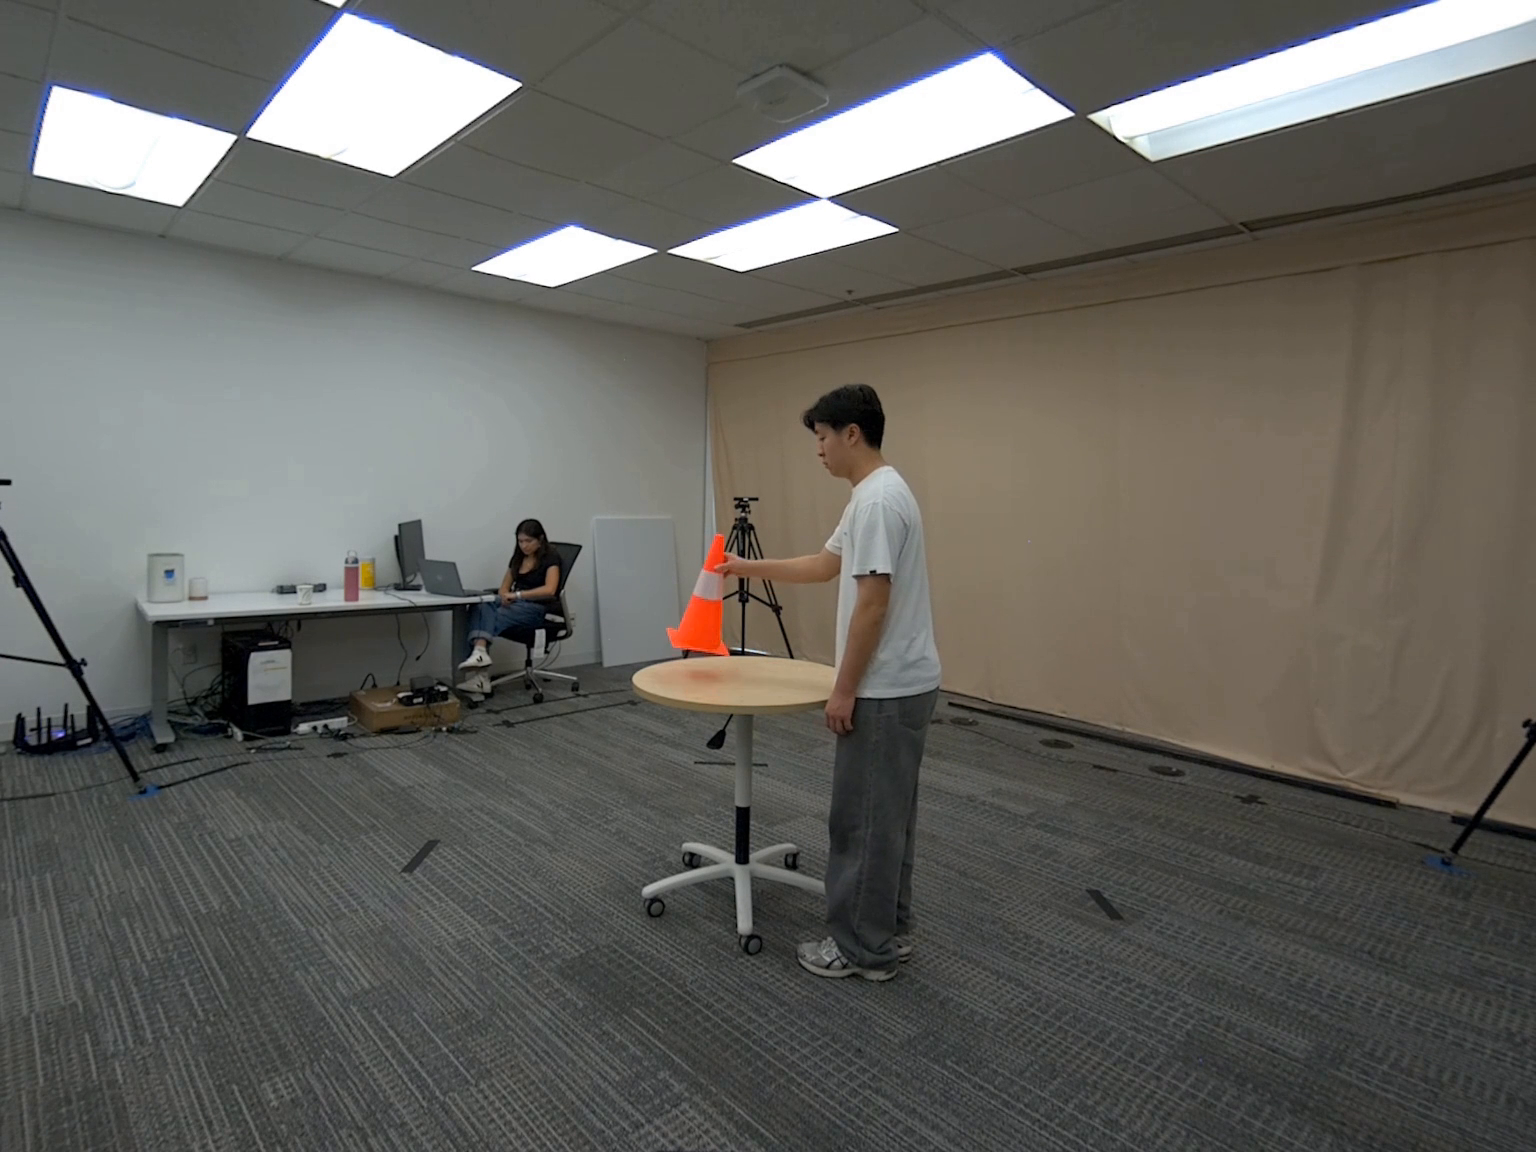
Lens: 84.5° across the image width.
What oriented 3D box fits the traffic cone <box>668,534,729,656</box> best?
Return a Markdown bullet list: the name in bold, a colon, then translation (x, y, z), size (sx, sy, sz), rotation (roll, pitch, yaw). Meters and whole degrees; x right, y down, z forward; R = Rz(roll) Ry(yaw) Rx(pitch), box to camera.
- **traffic cone**: translation (-0.202, 0.064, 2.851), size (0.201, 0.382, 0.208), rotation (10, 8, -15)
